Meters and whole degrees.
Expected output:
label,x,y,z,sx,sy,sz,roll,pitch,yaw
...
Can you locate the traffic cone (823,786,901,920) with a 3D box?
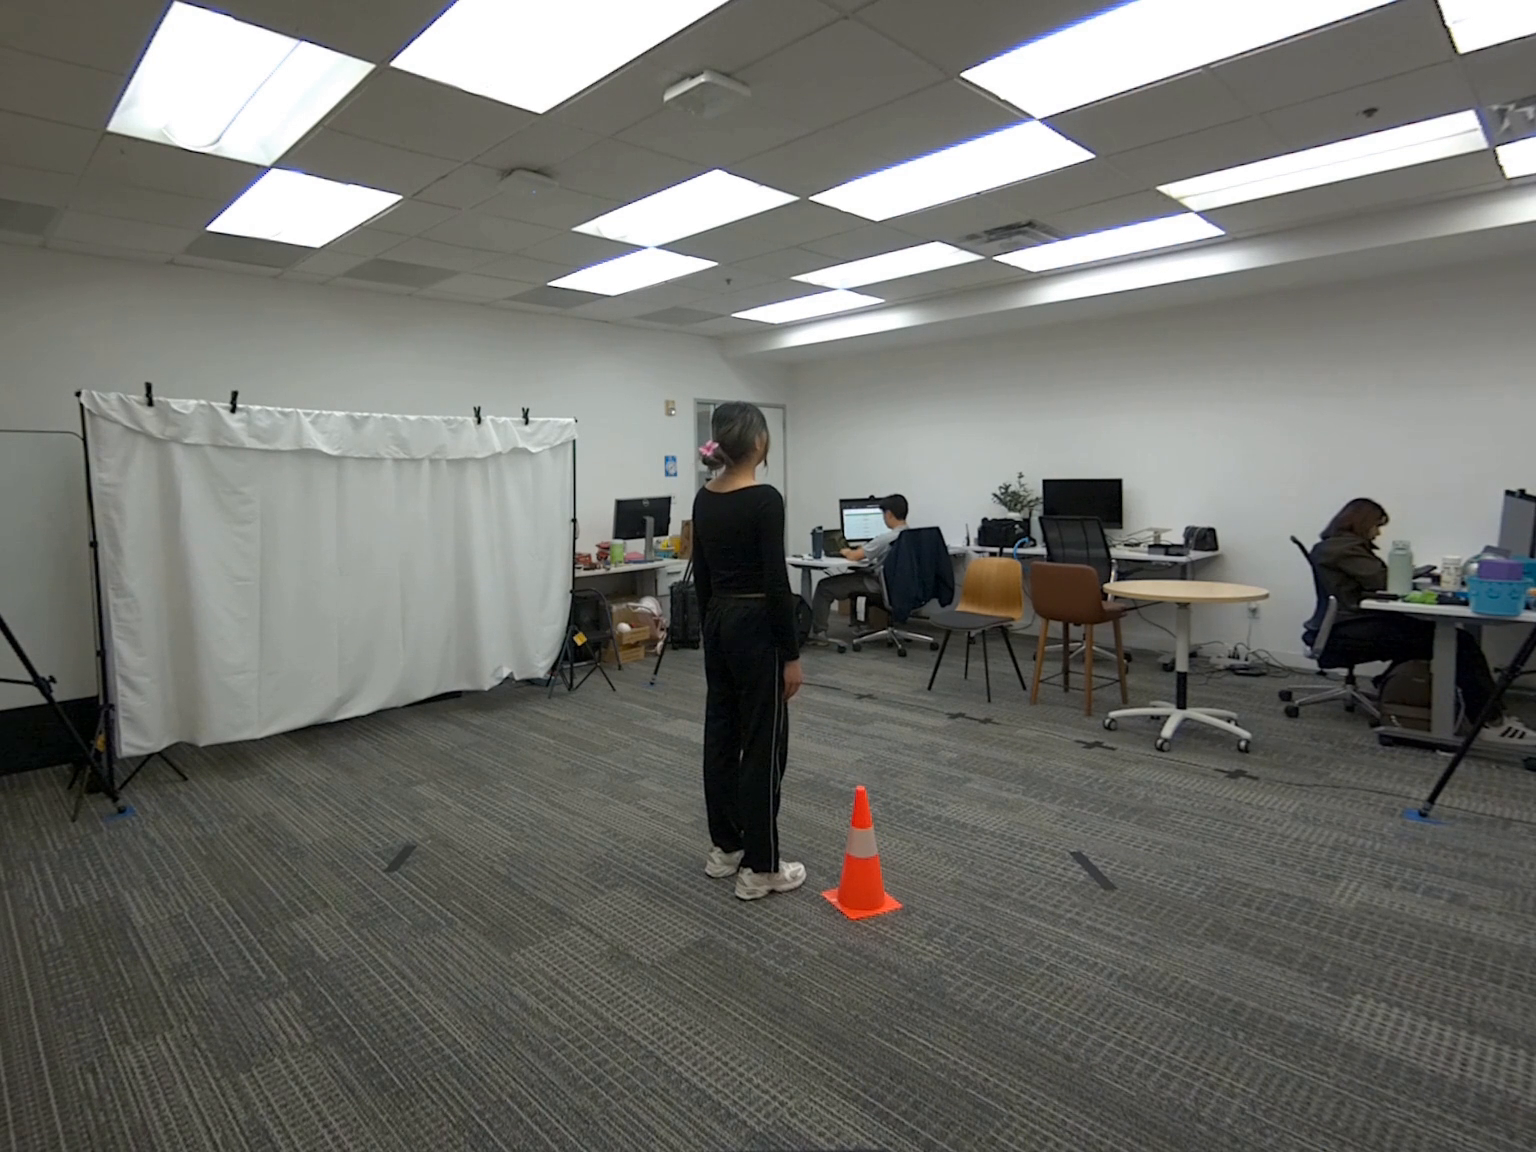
label,x,y,z,sx,sy,sz,roll,pitch,yaw
traffic cone,0.300,0.879,2.803,0.200,0.382,0.209,-4,5,-29
